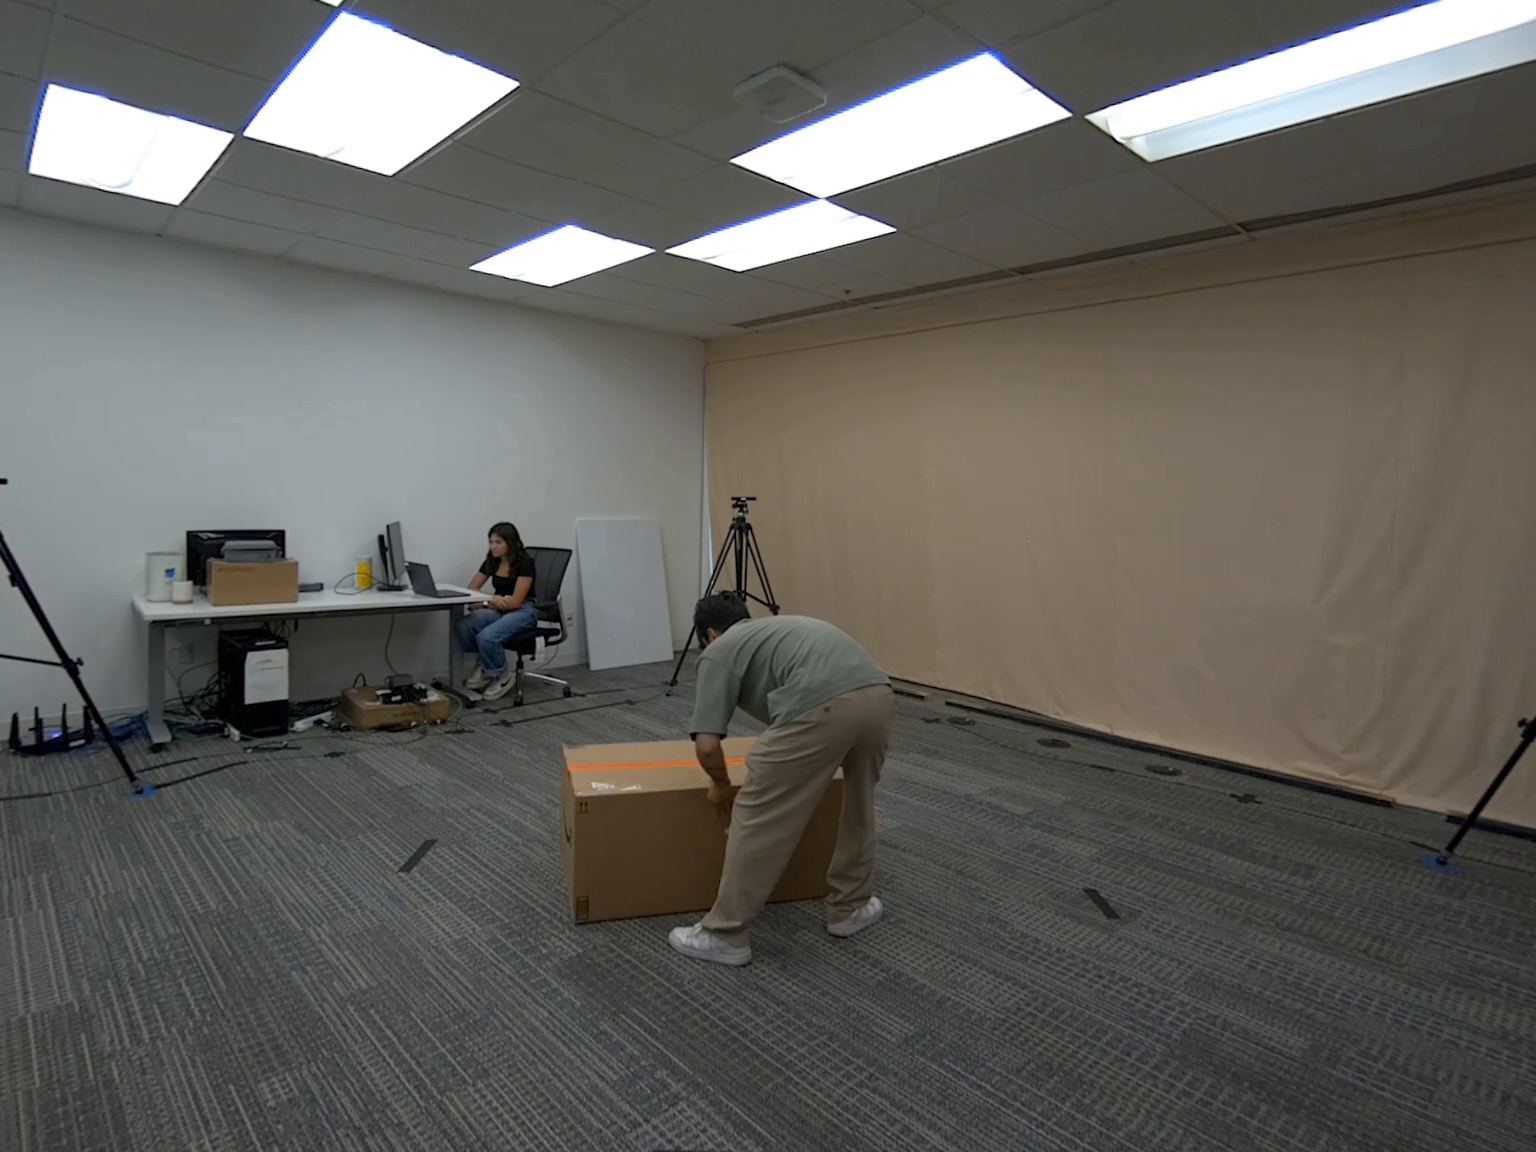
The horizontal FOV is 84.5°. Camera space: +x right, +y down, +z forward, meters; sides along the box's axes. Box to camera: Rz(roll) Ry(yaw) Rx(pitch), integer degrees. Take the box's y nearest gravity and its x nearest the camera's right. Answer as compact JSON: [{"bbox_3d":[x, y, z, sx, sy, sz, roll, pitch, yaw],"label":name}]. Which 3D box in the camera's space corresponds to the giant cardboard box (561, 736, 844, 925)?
[{"bbox_3d":[-0.232,0.885,3.115,1.013,0.425,0.586,0,4,-16],"label":"giant cardboard box"}]
